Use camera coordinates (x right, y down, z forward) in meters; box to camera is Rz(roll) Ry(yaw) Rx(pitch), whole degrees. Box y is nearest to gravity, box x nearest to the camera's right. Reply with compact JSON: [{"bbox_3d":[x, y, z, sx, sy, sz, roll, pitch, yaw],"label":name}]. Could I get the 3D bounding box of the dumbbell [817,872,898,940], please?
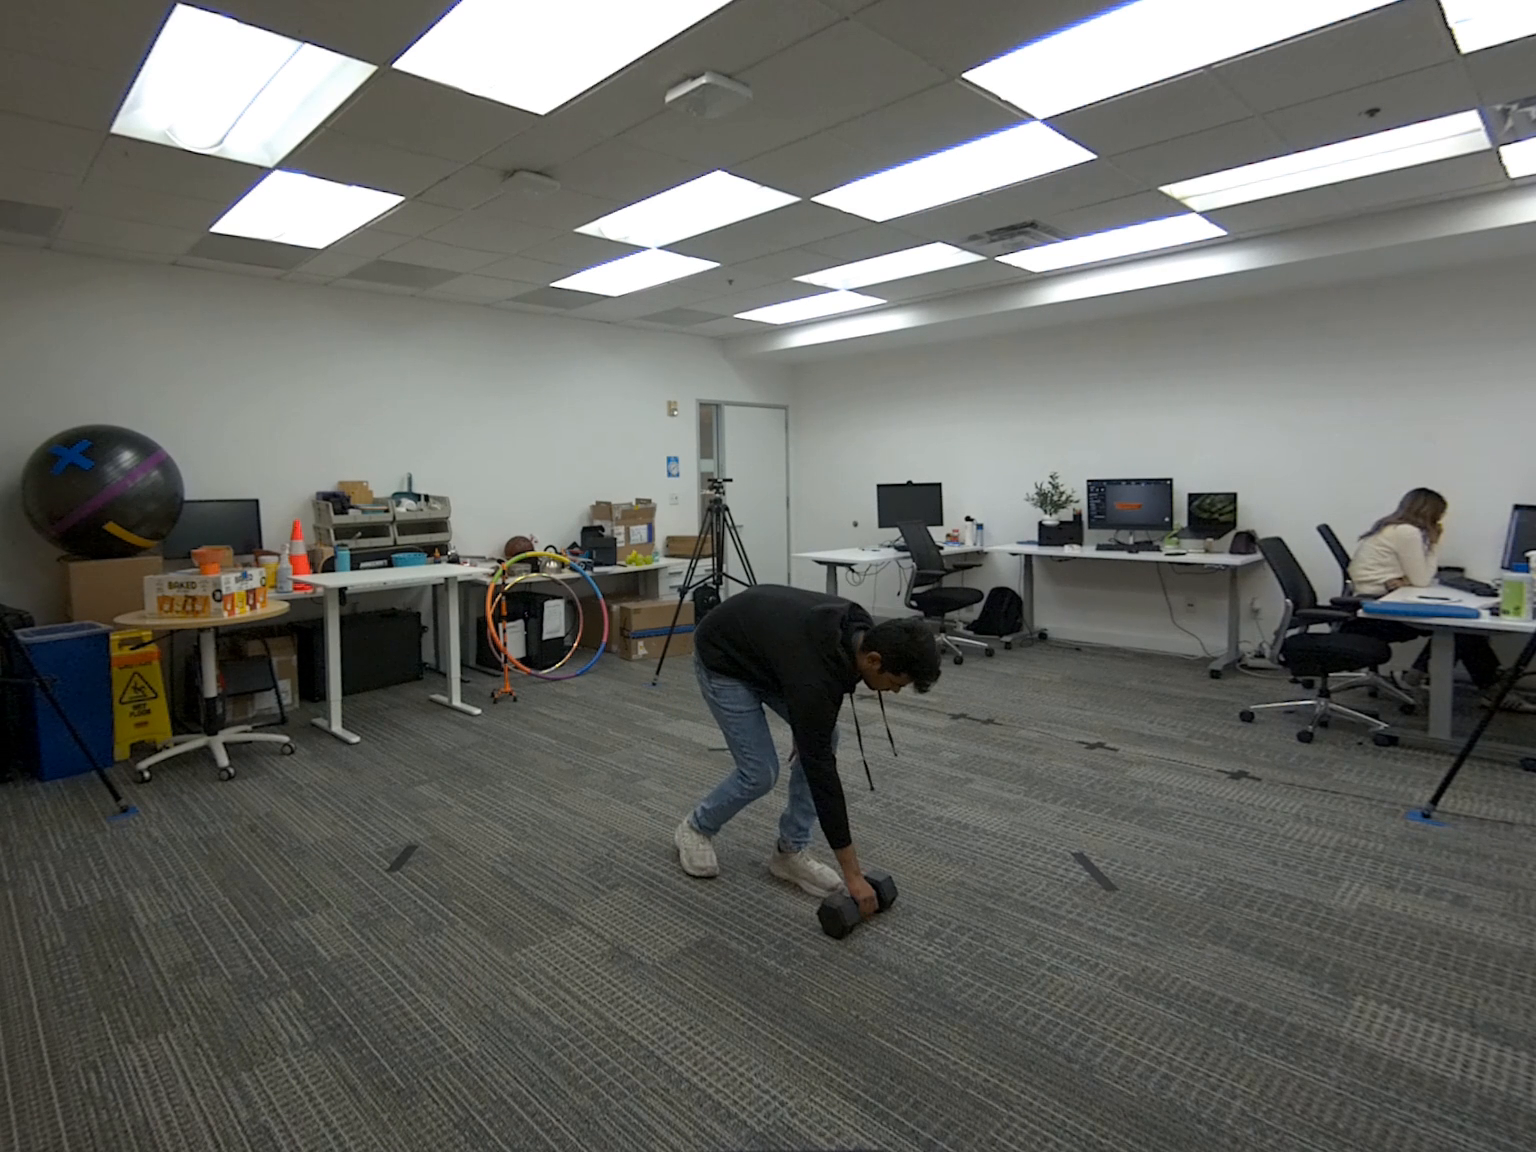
[{"bbox_3d":[0.287,1.021,2.698,0.286,0.121,0.113,-8,40,-46],"label":"dumbbell"}]
